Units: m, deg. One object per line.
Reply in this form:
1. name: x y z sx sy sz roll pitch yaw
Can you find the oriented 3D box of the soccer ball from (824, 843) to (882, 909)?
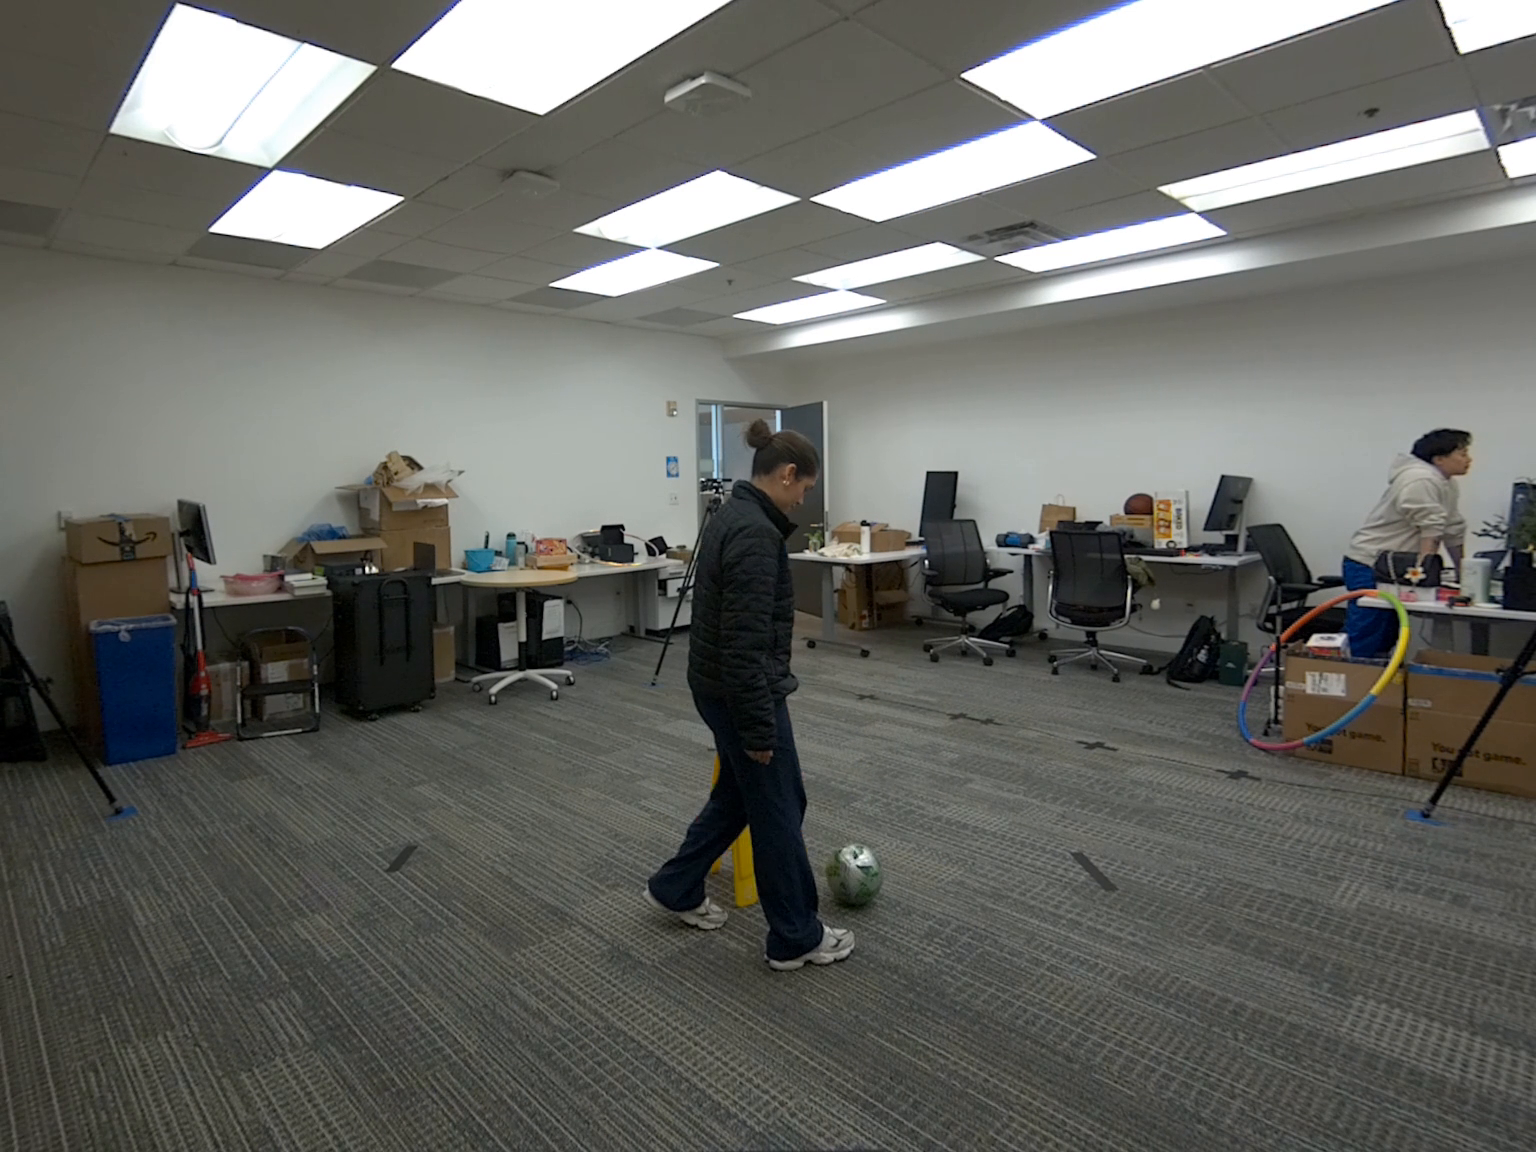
1. soccer ball: 0.283 0.968 2.802 0.187 0.187 0.188 -1 5 -2
